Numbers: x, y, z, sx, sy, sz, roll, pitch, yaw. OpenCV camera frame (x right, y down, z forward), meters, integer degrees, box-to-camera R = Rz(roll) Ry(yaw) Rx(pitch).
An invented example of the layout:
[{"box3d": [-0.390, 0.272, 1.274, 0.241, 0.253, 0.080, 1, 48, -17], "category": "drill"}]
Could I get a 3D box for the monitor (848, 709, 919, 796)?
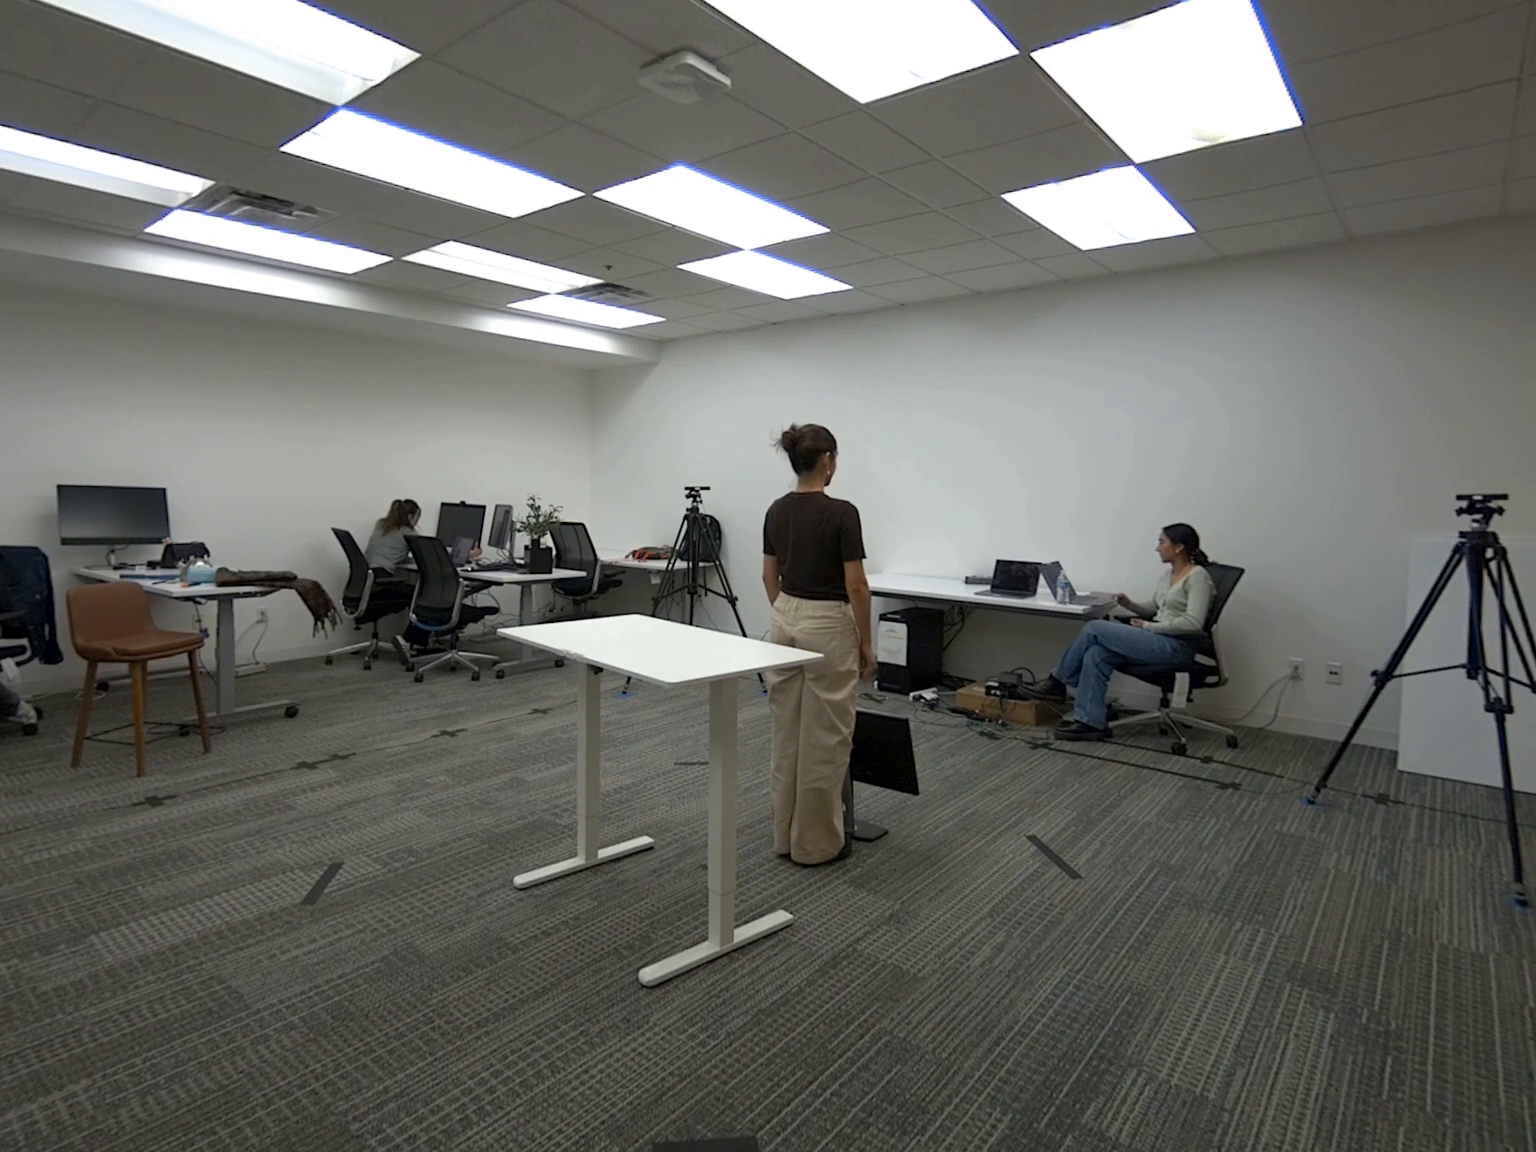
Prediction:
[{"box3d": [0.323, 0.783, 3.470, 0.556, 0.520, 0.182, 3, 6, 35], "category": "monitor"}]
